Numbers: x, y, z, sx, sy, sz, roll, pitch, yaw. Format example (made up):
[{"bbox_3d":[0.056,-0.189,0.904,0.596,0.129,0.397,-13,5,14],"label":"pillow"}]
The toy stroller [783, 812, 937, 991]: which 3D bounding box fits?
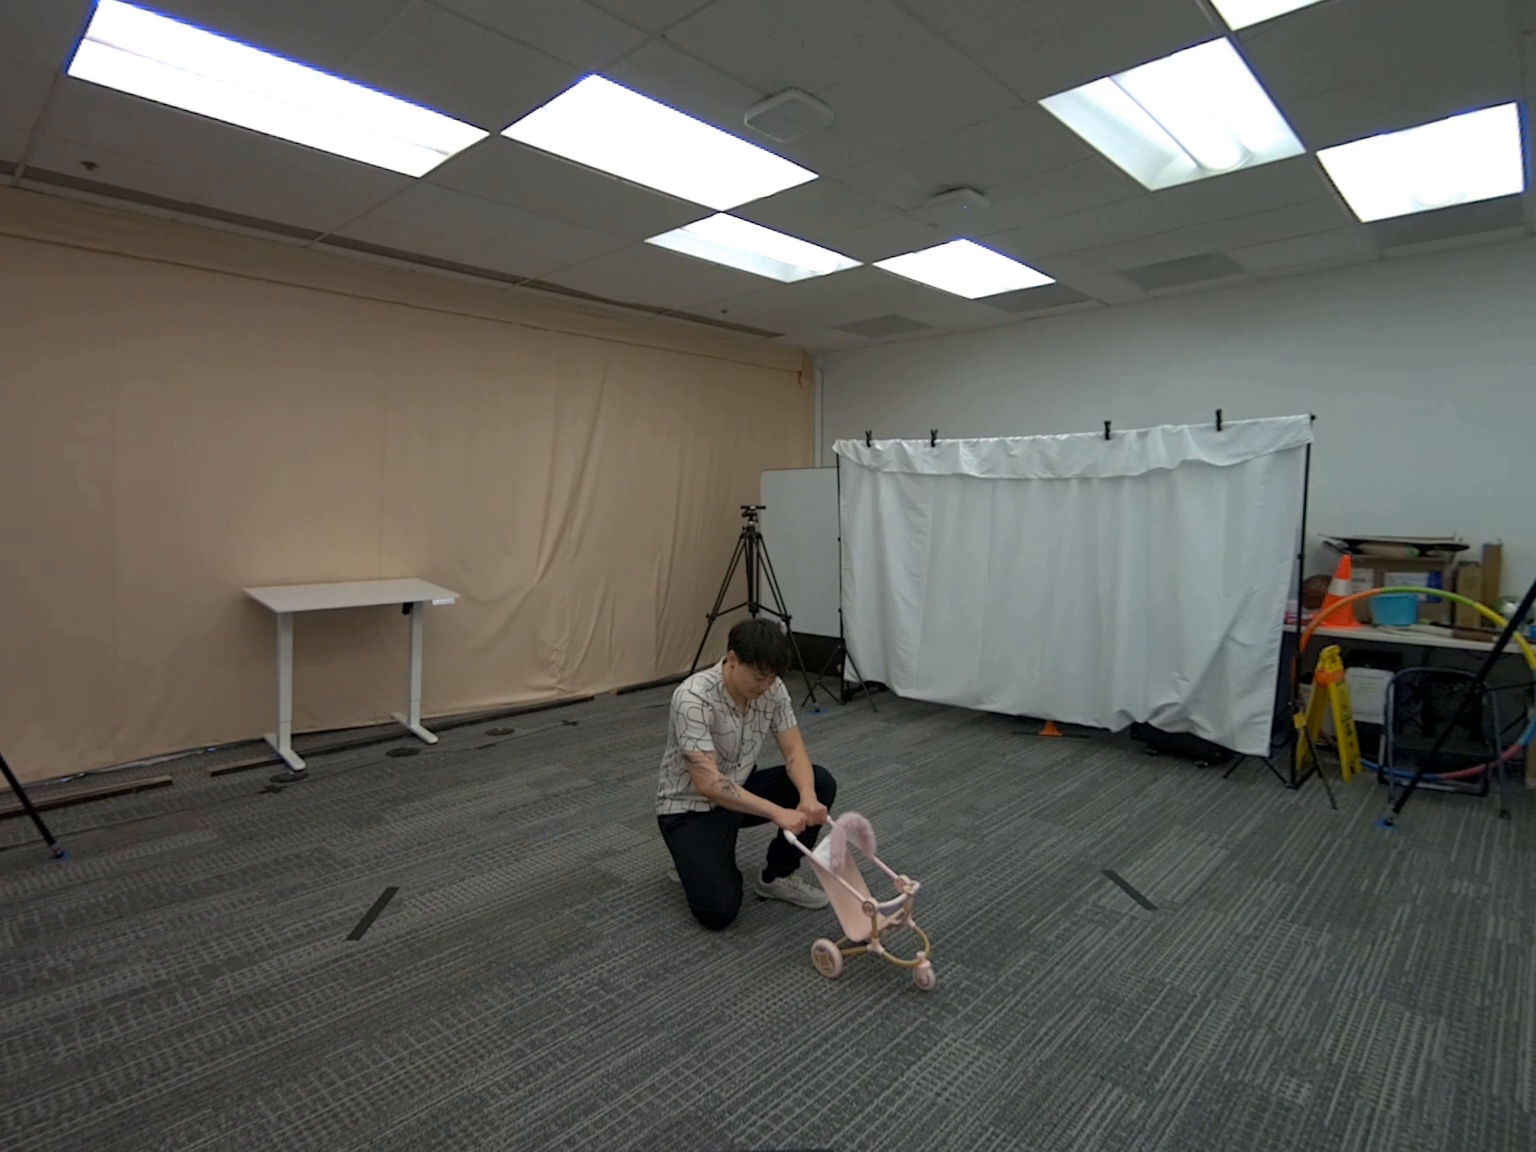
[{"bbox_3d":[0.292,0.957,2.535,0.273,0.540,0.348,-6,-14,-46],"label":"toy stroller"}]
